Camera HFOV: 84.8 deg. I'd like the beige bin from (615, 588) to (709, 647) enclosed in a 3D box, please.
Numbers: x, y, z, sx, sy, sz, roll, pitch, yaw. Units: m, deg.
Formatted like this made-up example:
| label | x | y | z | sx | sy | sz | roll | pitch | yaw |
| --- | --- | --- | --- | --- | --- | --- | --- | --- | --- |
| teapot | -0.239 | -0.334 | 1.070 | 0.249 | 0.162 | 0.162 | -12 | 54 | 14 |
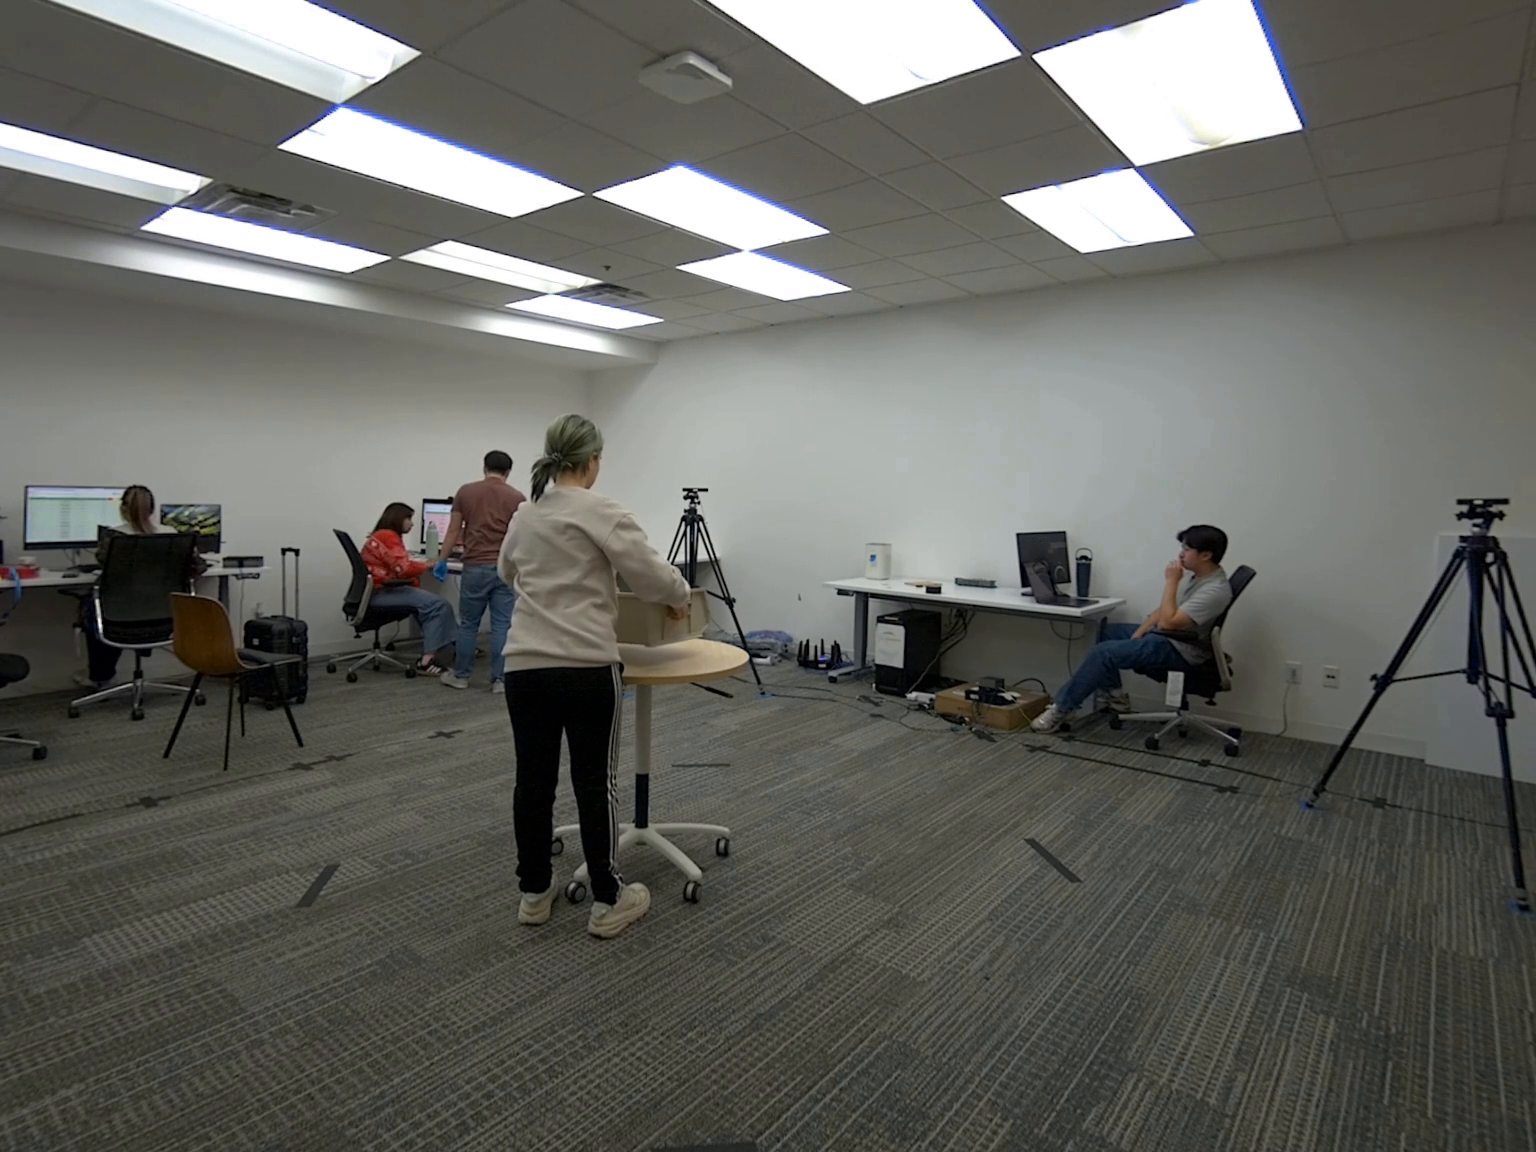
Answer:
| label | x | y | z | sx | sy | sz | roll | pitch | yaw |
| --- | --- | --- | --- | --- | --- | --- | --- | --- | --- |
| beige bin | -0.494 | 0.131 | 3.081 | 0.434 | 0.188 | 0.367 | 1 | 4 | 30 |
